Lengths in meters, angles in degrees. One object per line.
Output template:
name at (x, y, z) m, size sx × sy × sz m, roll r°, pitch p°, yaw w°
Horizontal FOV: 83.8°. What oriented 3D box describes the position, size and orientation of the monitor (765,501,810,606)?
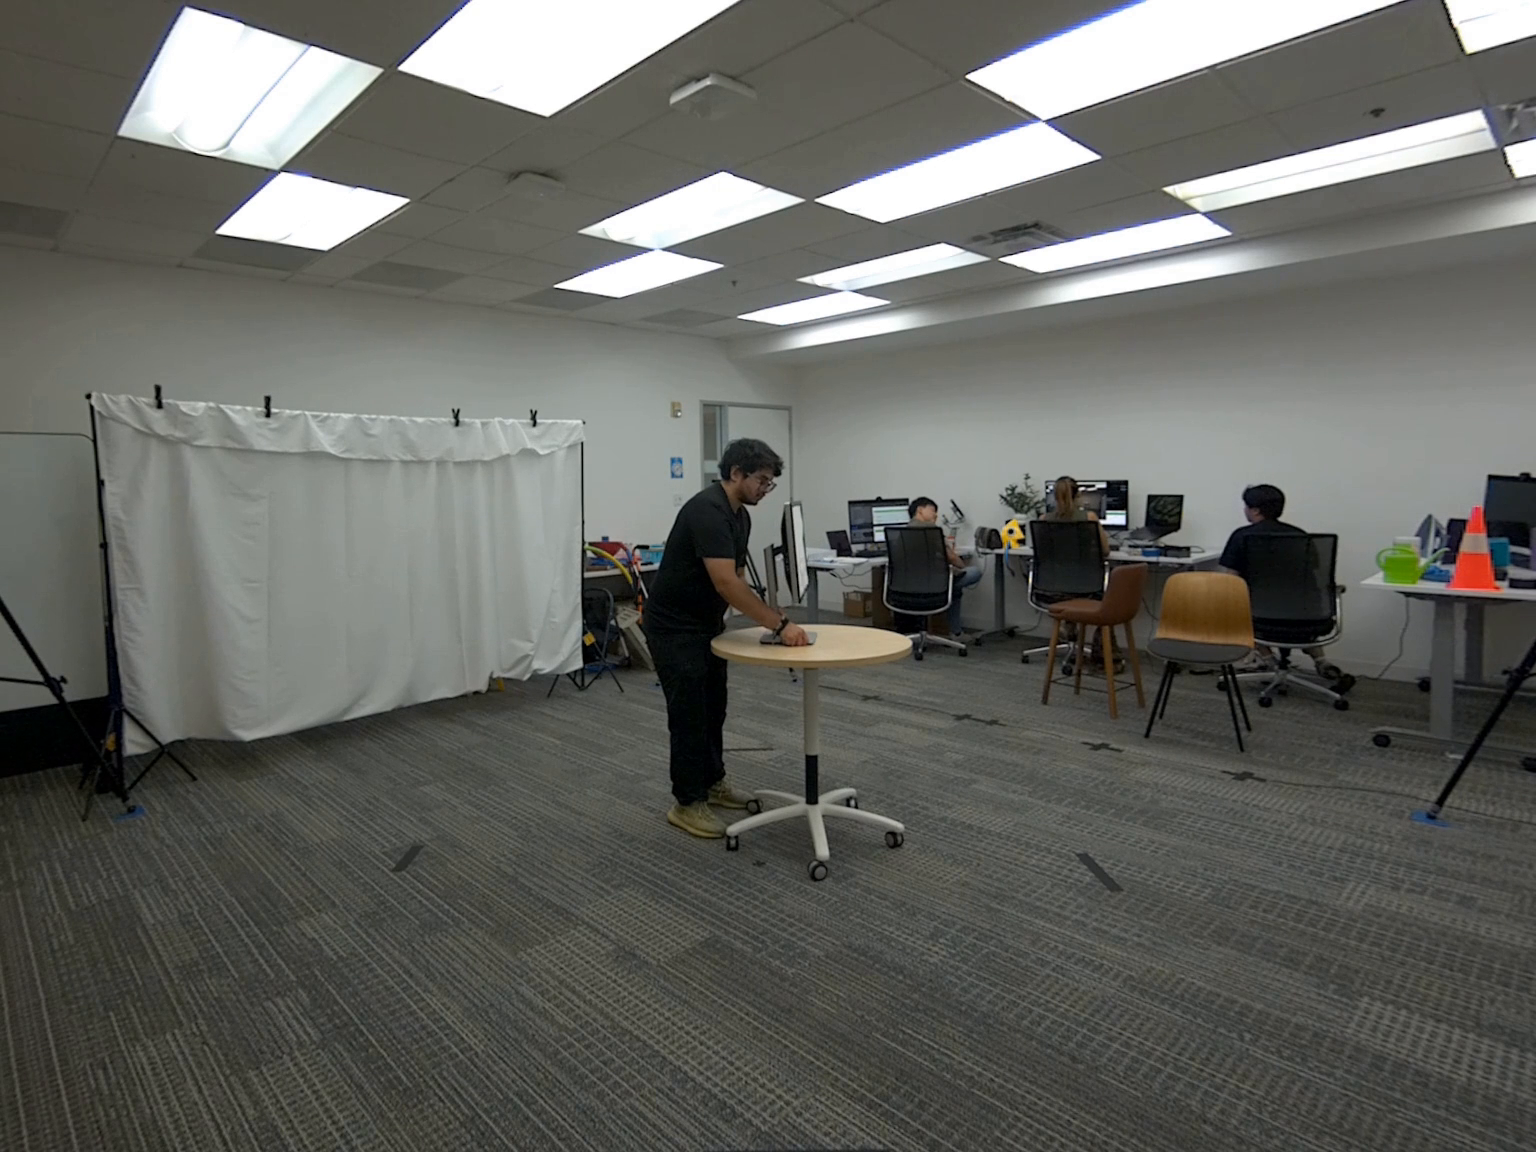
monitor at (0.054, -0.013, 3.316) m, size 0.211 × 0.551 × 0.564 m, roll -3°, pitch 5°, yaw 5°
